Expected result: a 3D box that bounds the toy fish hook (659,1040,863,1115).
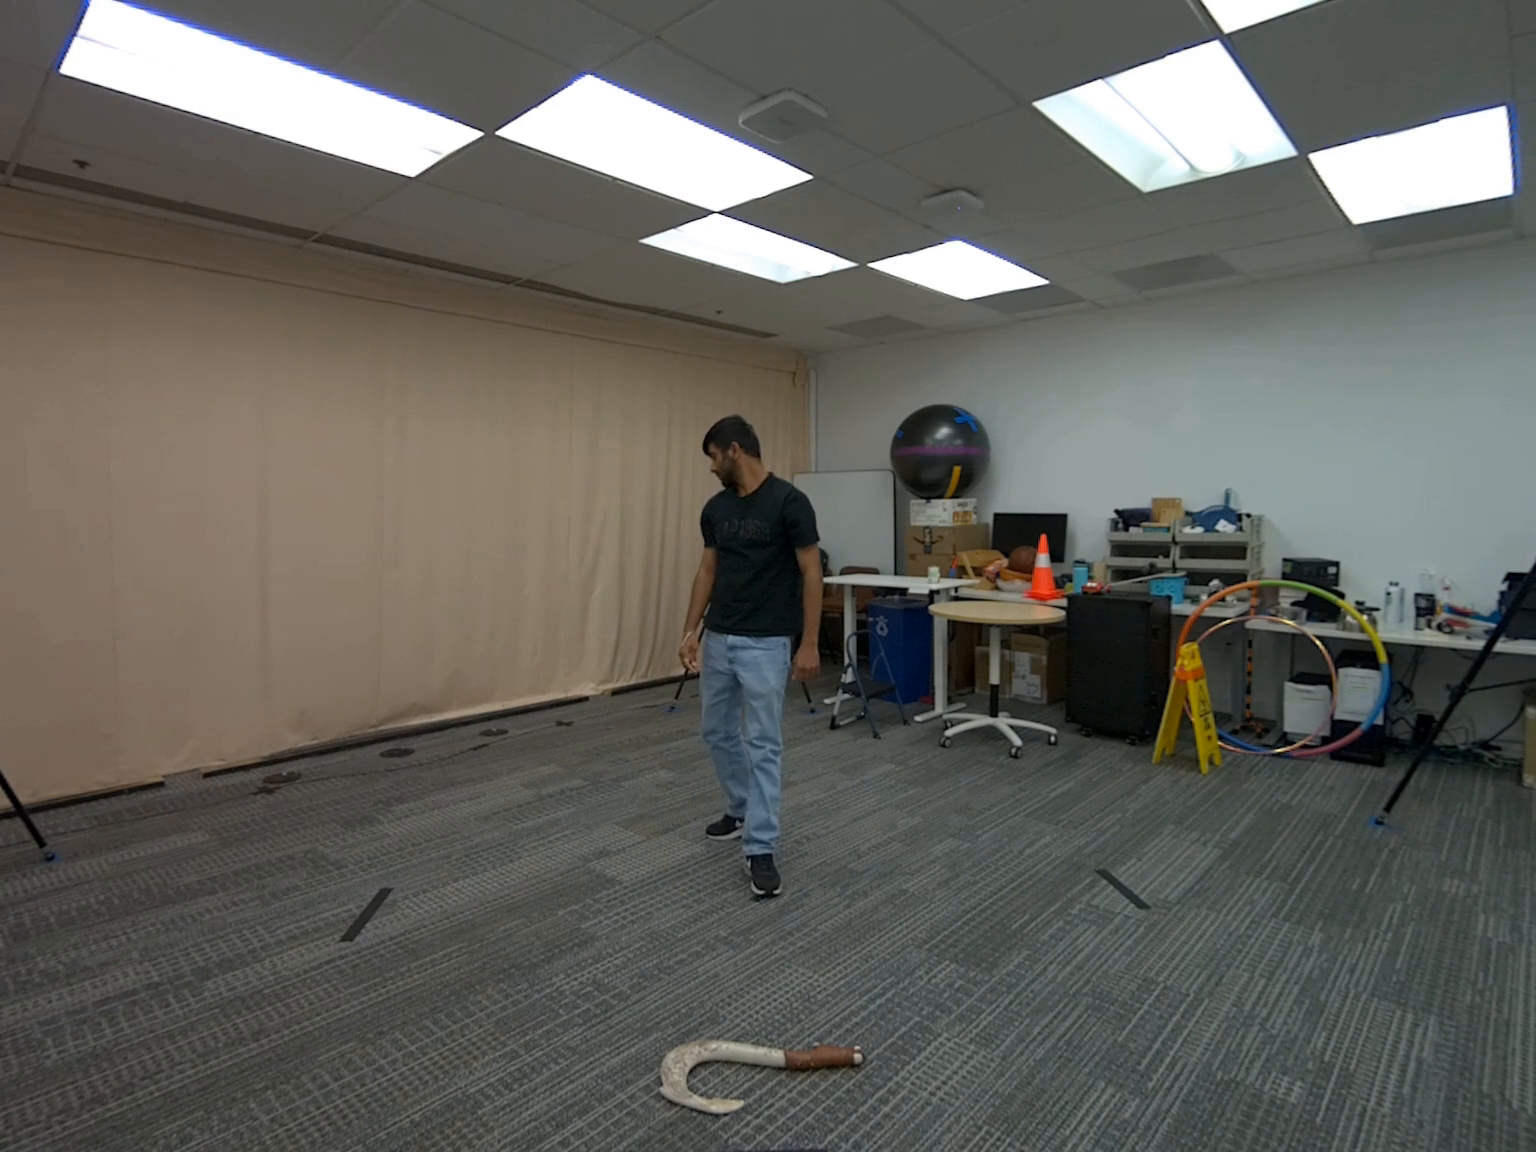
[{"bbox_3d":[0.002,1.206,2.036,0.505,0.048,0.227,-1,12,-3],"label":"toy fish hook"}]
